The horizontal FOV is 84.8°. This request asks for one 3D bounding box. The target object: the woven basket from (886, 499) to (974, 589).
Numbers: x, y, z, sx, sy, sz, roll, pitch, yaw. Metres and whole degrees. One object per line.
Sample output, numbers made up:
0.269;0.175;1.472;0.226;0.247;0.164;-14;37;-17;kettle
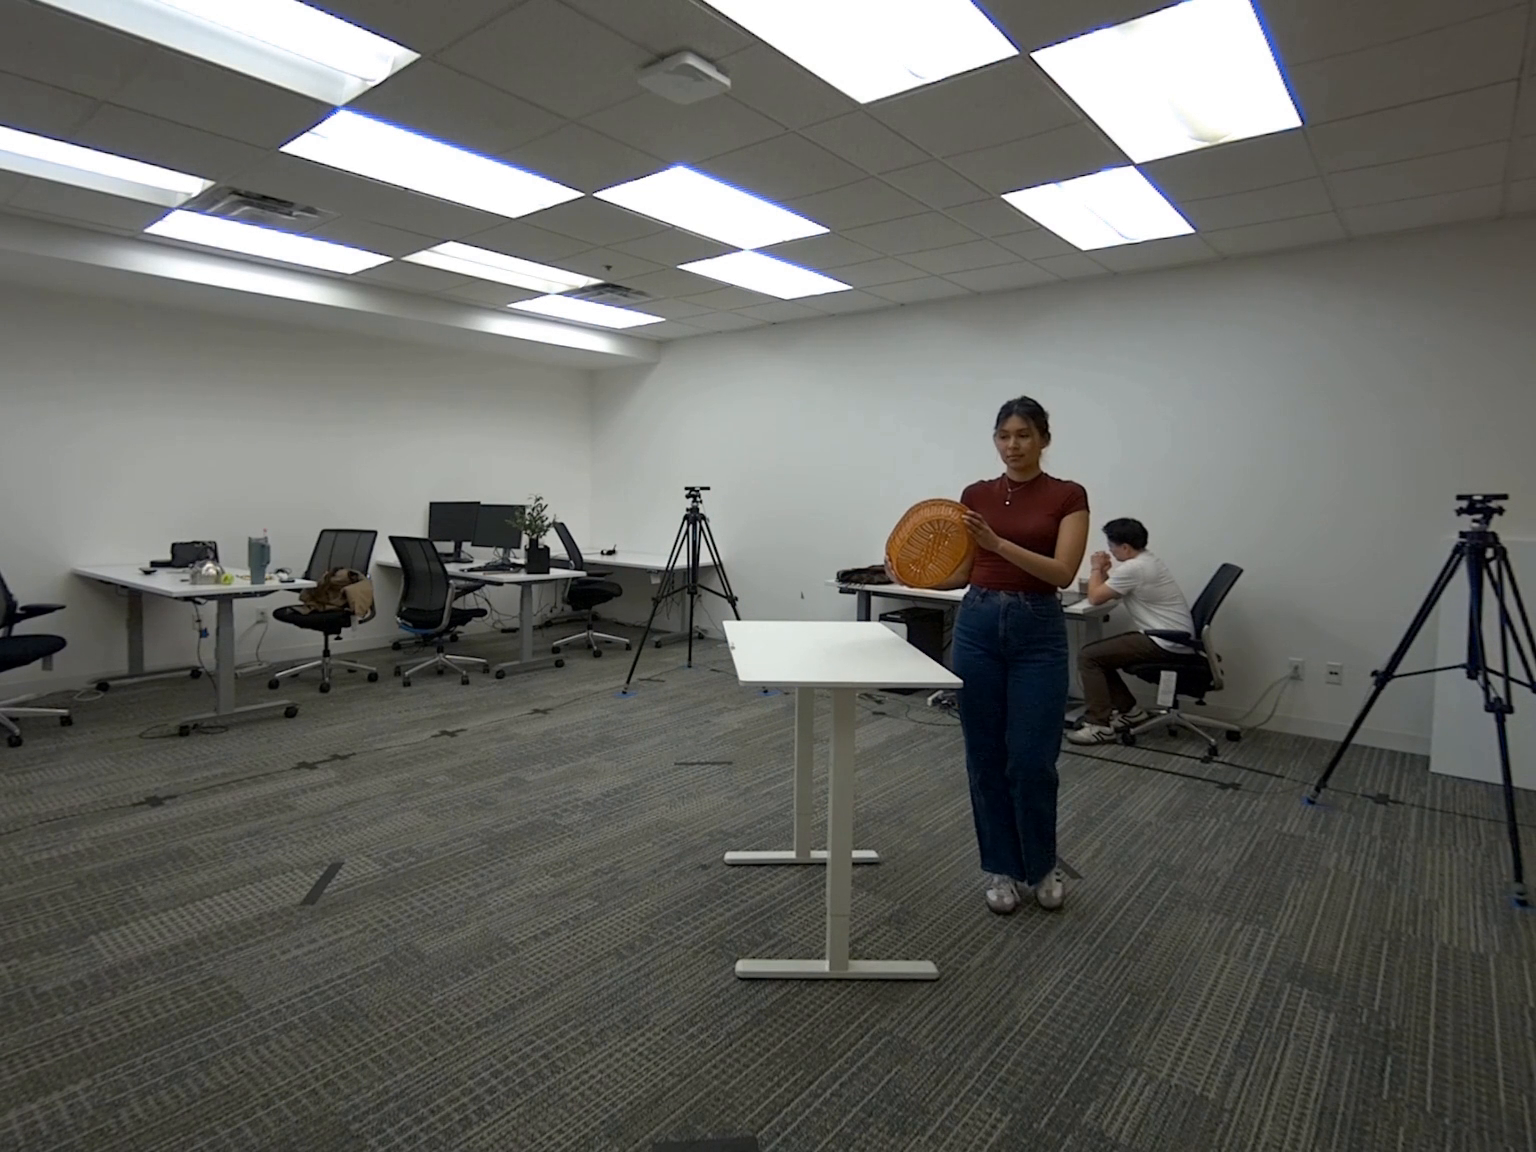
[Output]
0.512;-0.088;2.723;0.253;0.346;0.074;28;40;1;woven basket
